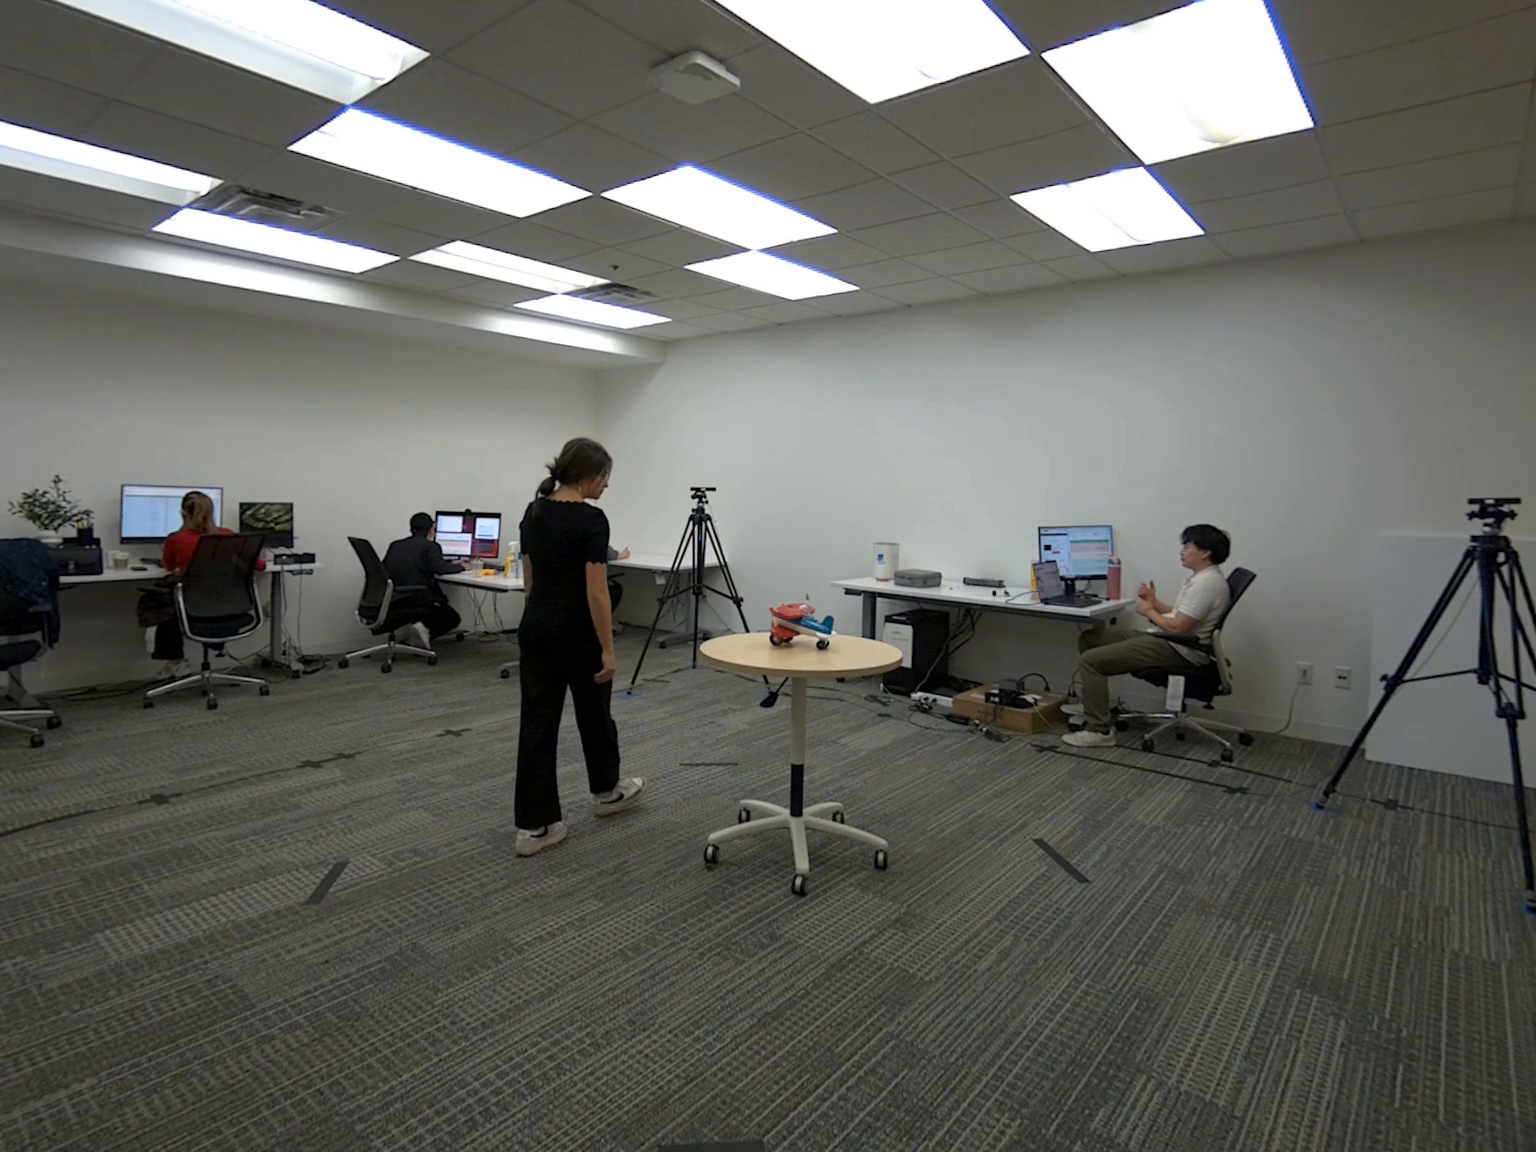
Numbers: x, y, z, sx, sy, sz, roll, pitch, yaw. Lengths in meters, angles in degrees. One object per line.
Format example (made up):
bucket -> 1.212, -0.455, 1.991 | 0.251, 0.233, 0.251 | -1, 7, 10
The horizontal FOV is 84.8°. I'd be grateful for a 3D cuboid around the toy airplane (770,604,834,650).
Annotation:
toy airplane -> 0.125, 0.191, 3.318 | 0.260, 0.156, 0.252 | 0, 5, 0
